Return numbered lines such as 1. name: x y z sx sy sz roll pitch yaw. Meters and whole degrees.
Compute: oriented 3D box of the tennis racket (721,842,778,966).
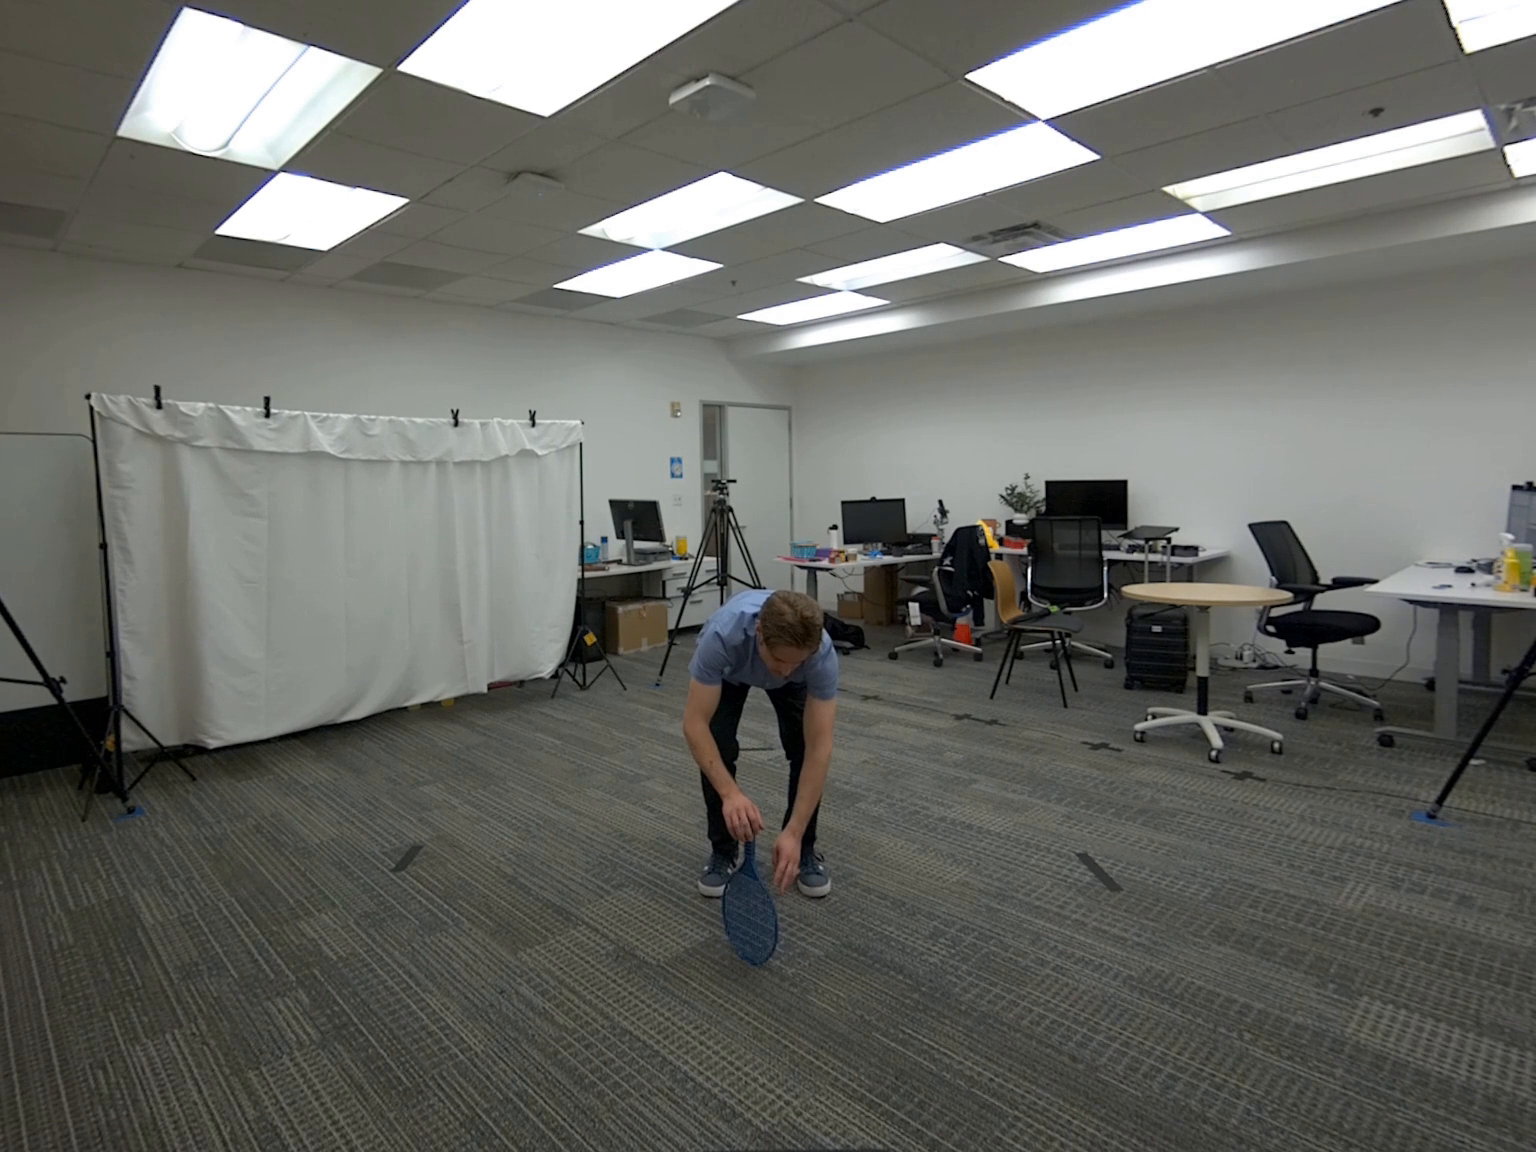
1. tennis racket: -0.052 0.903 2.473 0.220 0.432 0.031 1 4 40
